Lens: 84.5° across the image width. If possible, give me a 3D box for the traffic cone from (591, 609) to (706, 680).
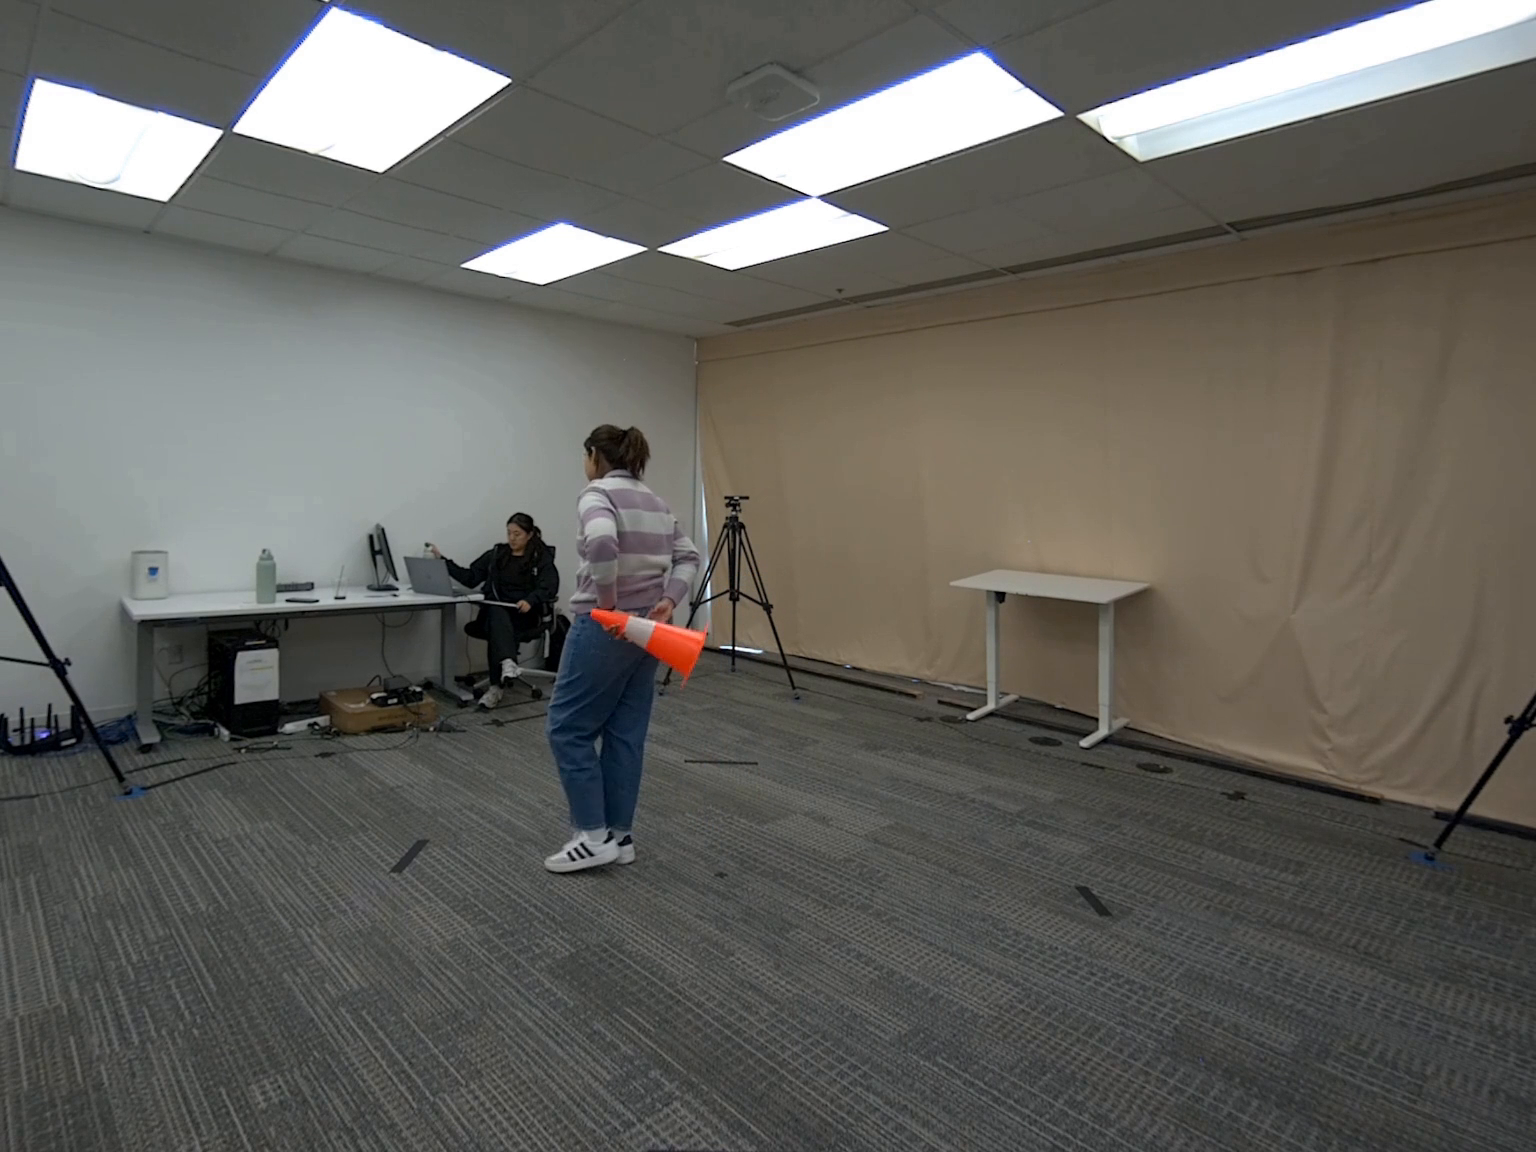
[{"bbox_3d":[-0.433,0.195,2.843,0.382,0.203,0.206,22,31,-5],"label":"traffic cone"}]
